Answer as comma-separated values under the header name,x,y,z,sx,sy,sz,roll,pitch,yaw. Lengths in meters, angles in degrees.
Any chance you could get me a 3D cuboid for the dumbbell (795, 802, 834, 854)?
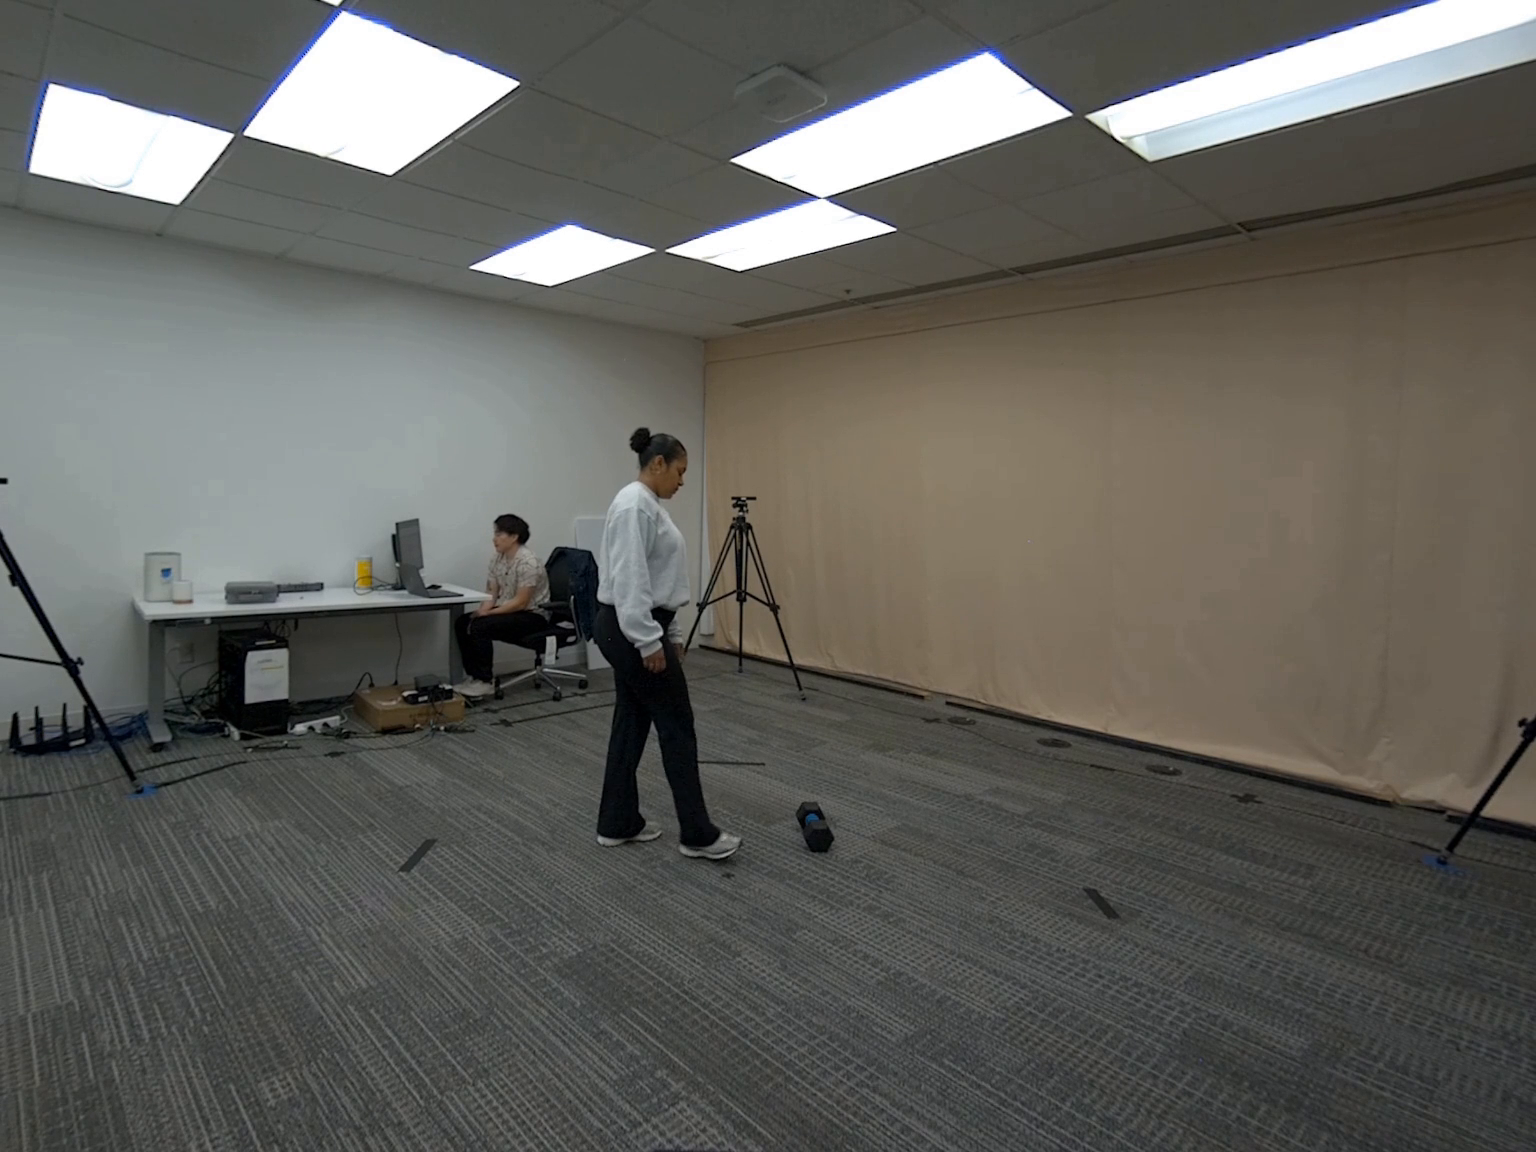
name,x,y,z,sx,sy,sz,roll,pitch,yaw
dumbbell,0.177,1.029,3.466,0.108,0.123,0.295,31,2,-7
